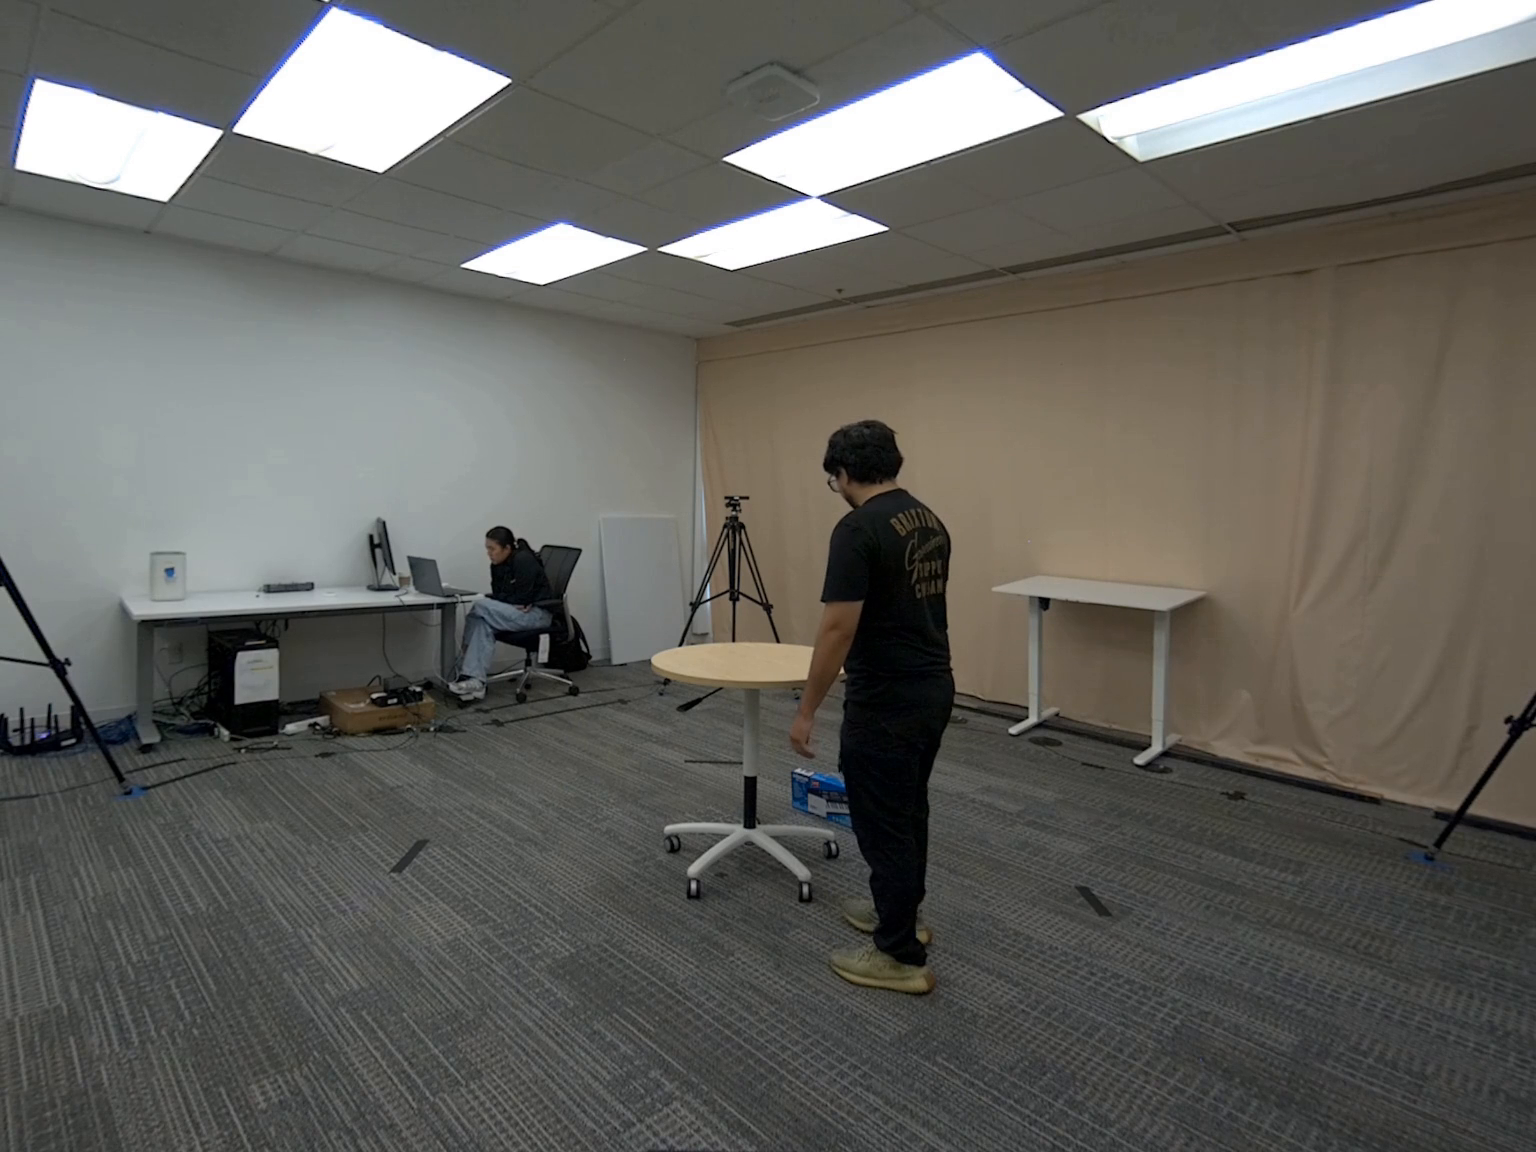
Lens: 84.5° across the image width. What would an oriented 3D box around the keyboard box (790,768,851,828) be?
[{"bbox_3d":[0.282,0.981,3.683,0.448,0.175,0.058,5,10,43],"label":"keyboard box"}]
